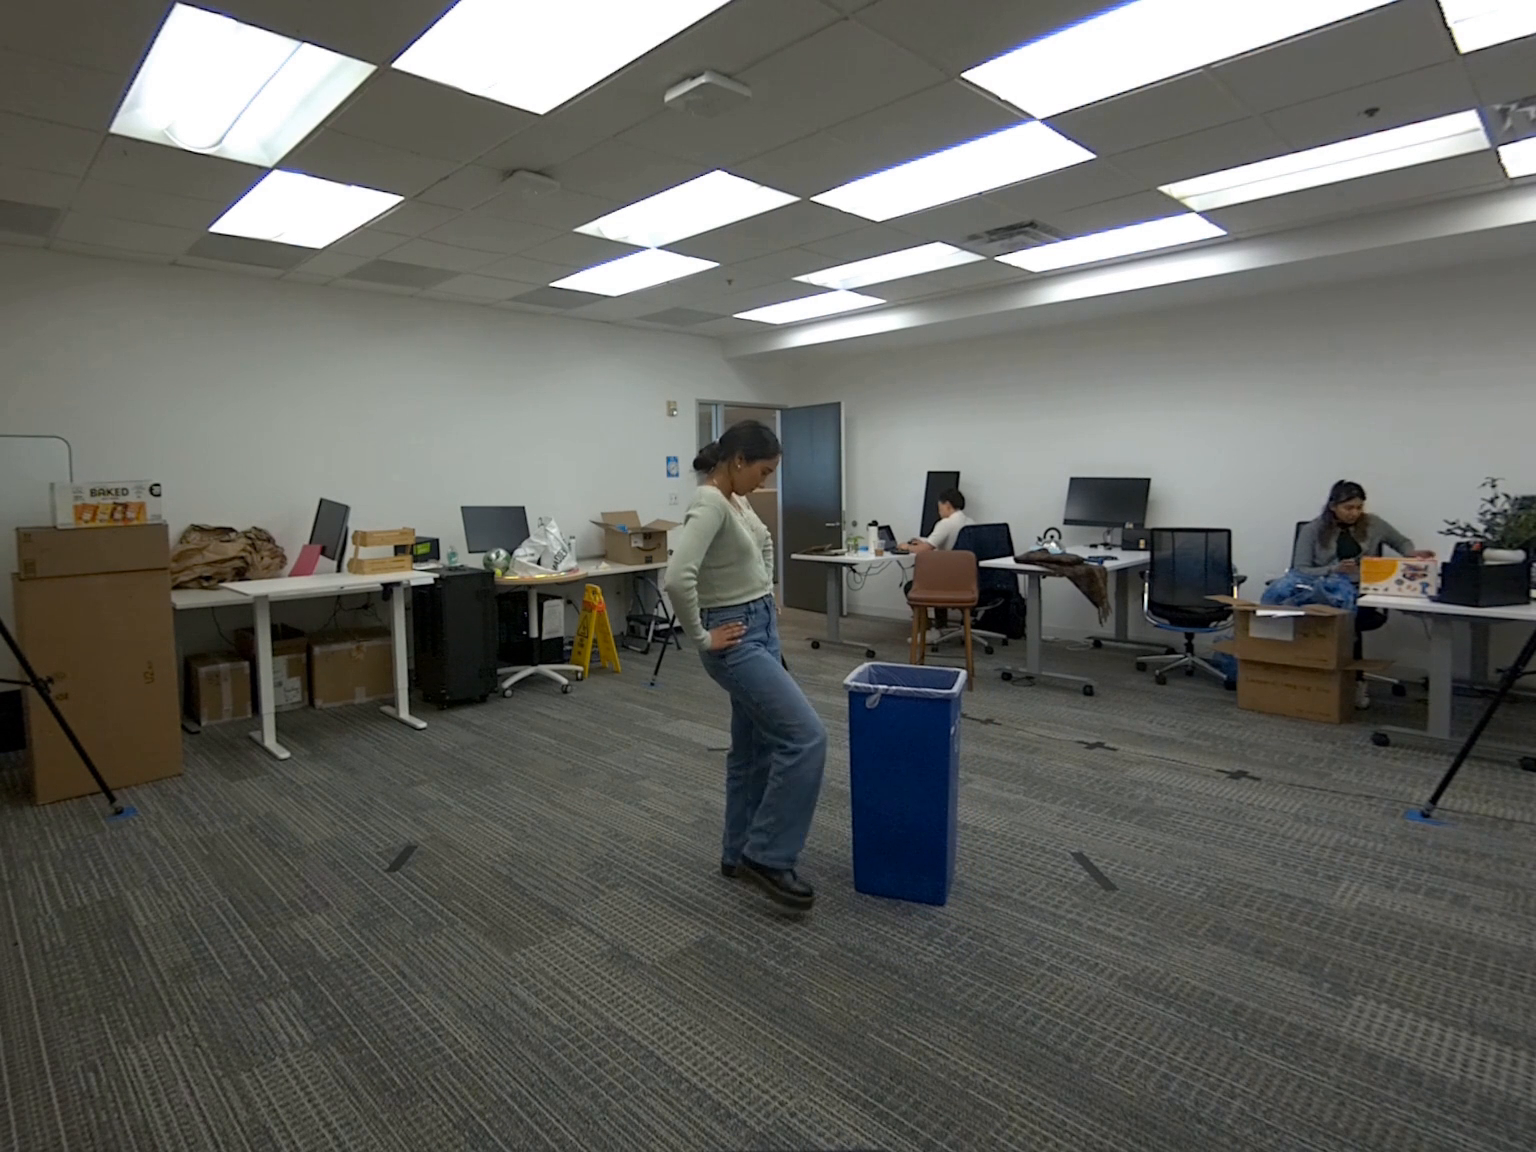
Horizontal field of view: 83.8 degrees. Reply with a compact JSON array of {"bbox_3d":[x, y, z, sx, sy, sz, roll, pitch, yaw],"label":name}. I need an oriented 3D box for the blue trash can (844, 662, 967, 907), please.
[{"bbox_3d":[0.484,0.693,2.940,0.381,0.711,0.372,0,4,20],"label":"blue trash can"}]
